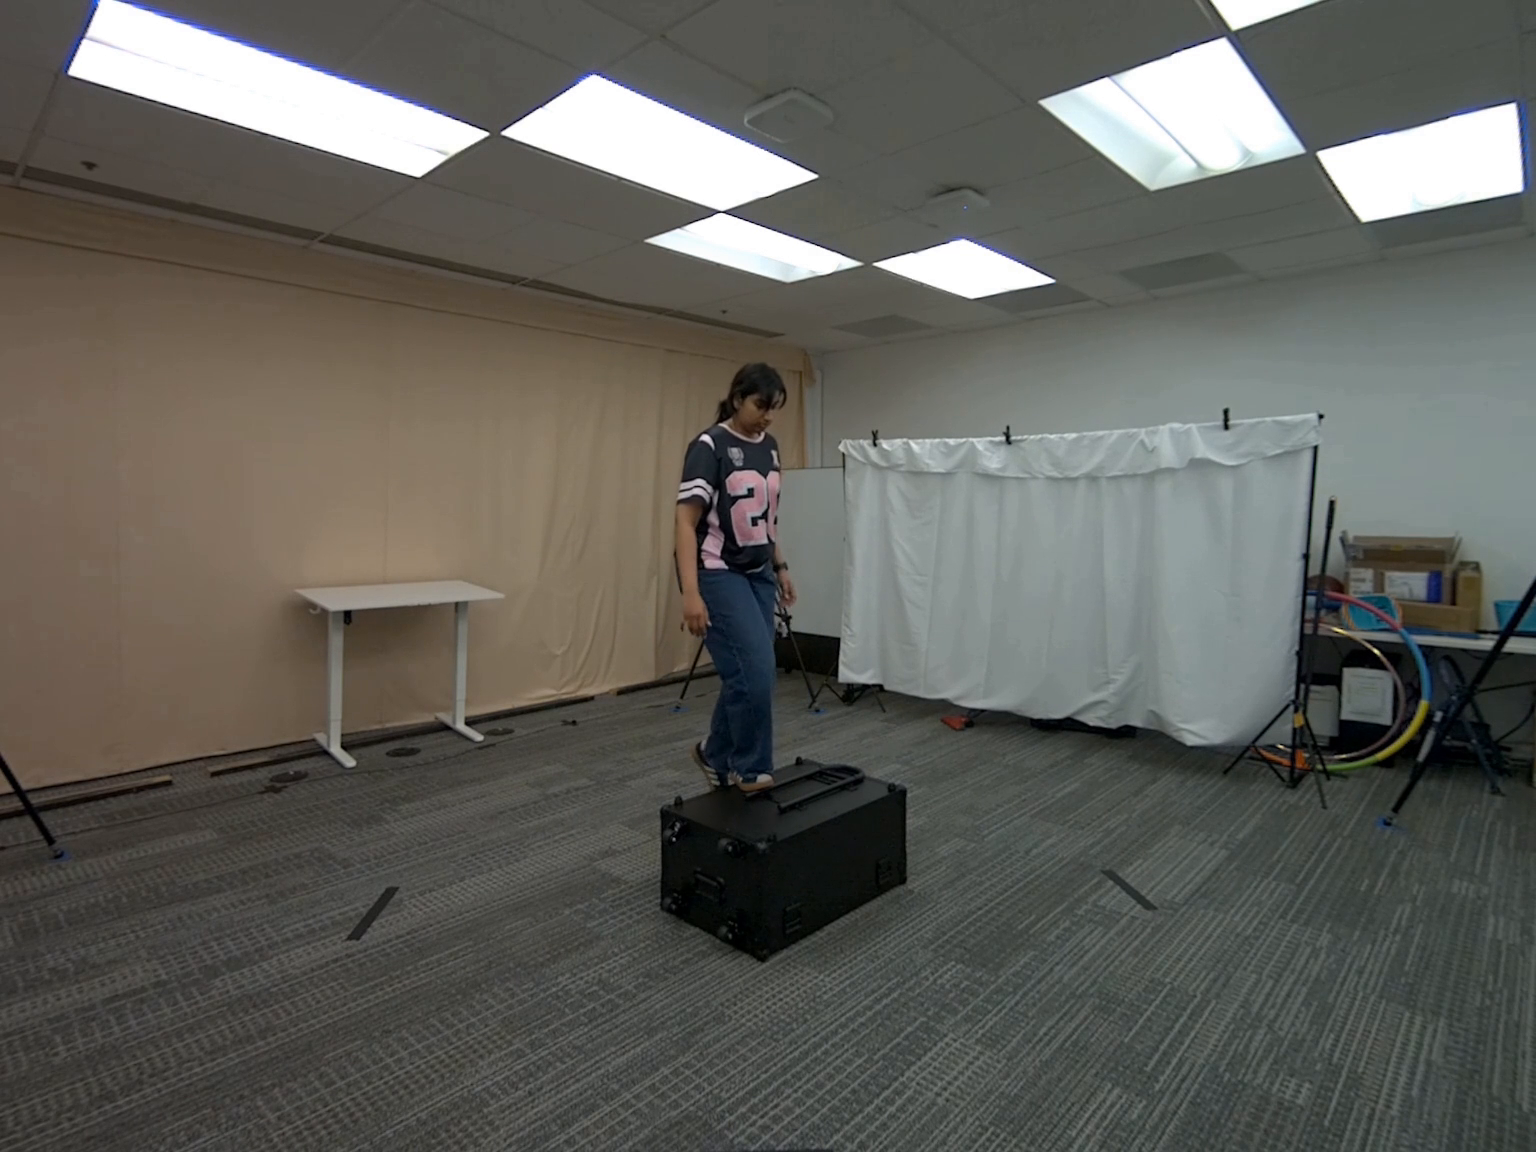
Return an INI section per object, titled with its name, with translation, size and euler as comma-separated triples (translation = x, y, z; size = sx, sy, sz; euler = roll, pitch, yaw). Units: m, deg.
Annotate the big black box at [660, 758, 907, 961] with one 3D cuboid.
[big black box]
translation = 0.055, 0.961, 2.965
size = 0.541, 0.384, 0.842
euler = 5, 7, 44
